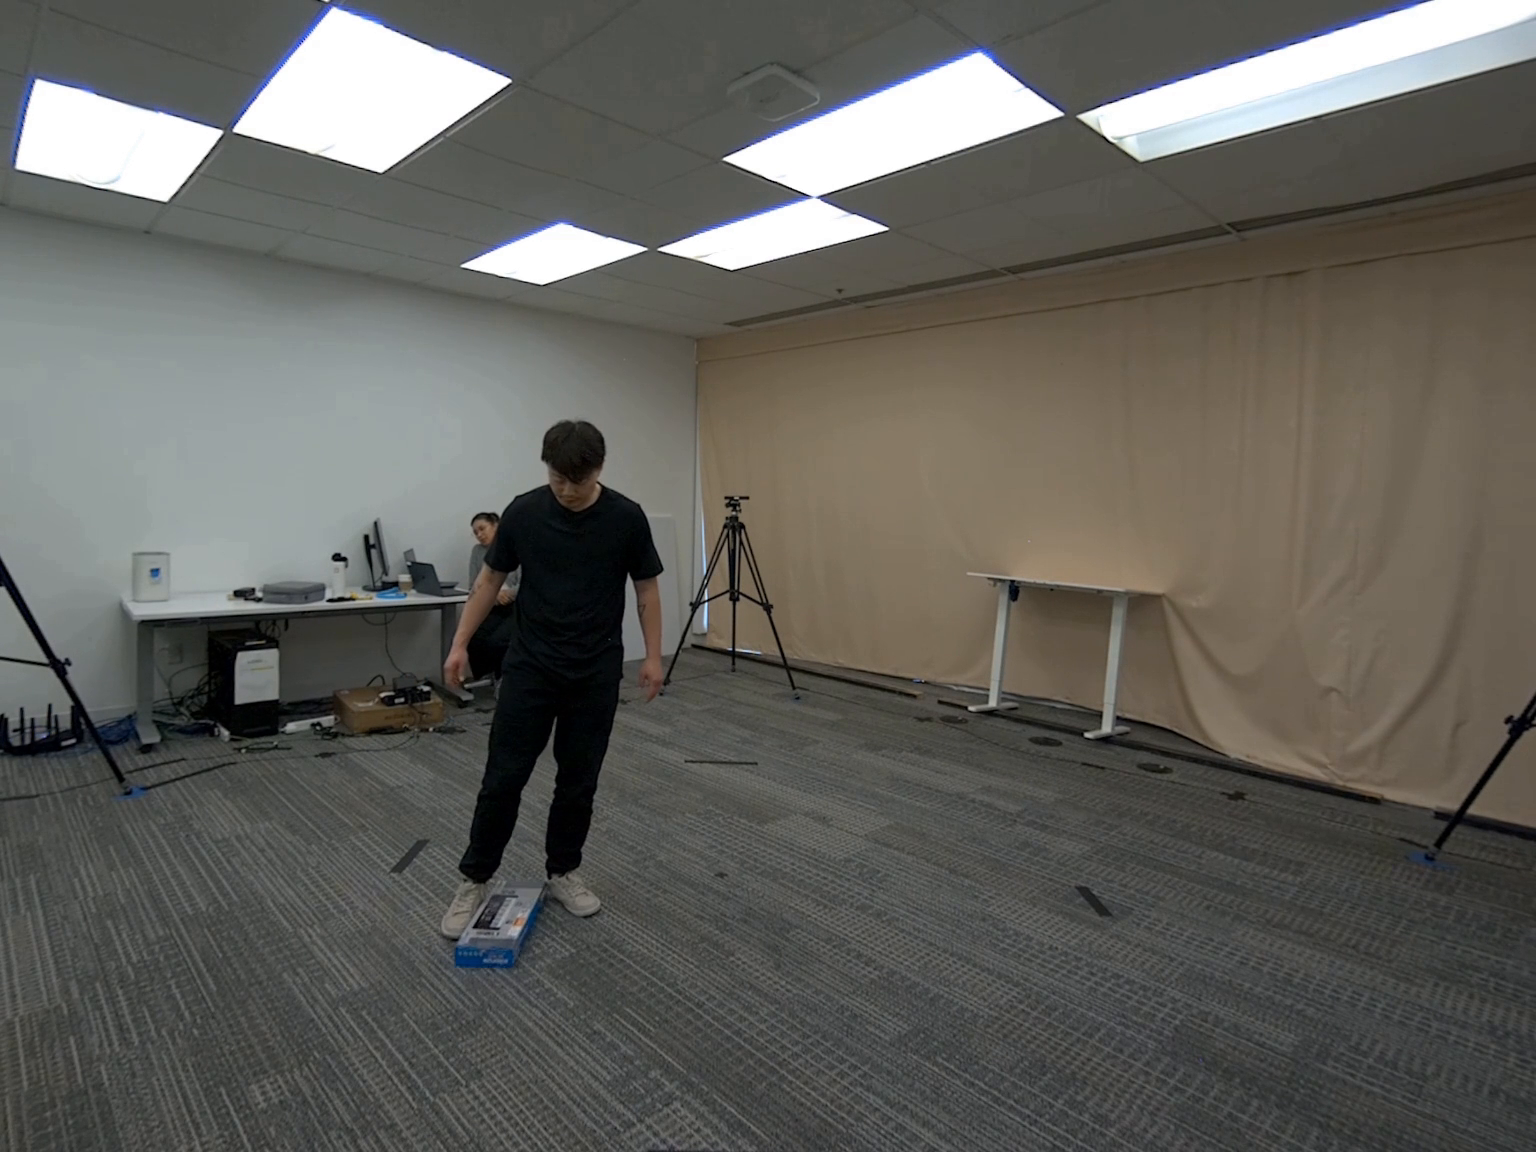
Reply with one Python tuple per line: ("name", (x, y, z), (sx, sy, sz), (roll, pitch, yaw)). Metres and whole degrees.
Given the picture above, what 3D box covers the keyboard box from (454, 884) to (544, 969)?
("keyboard box", (-0.838, 1.101, 2.673), (0.175, 0.059, 0.439), (1, 5, -4))
